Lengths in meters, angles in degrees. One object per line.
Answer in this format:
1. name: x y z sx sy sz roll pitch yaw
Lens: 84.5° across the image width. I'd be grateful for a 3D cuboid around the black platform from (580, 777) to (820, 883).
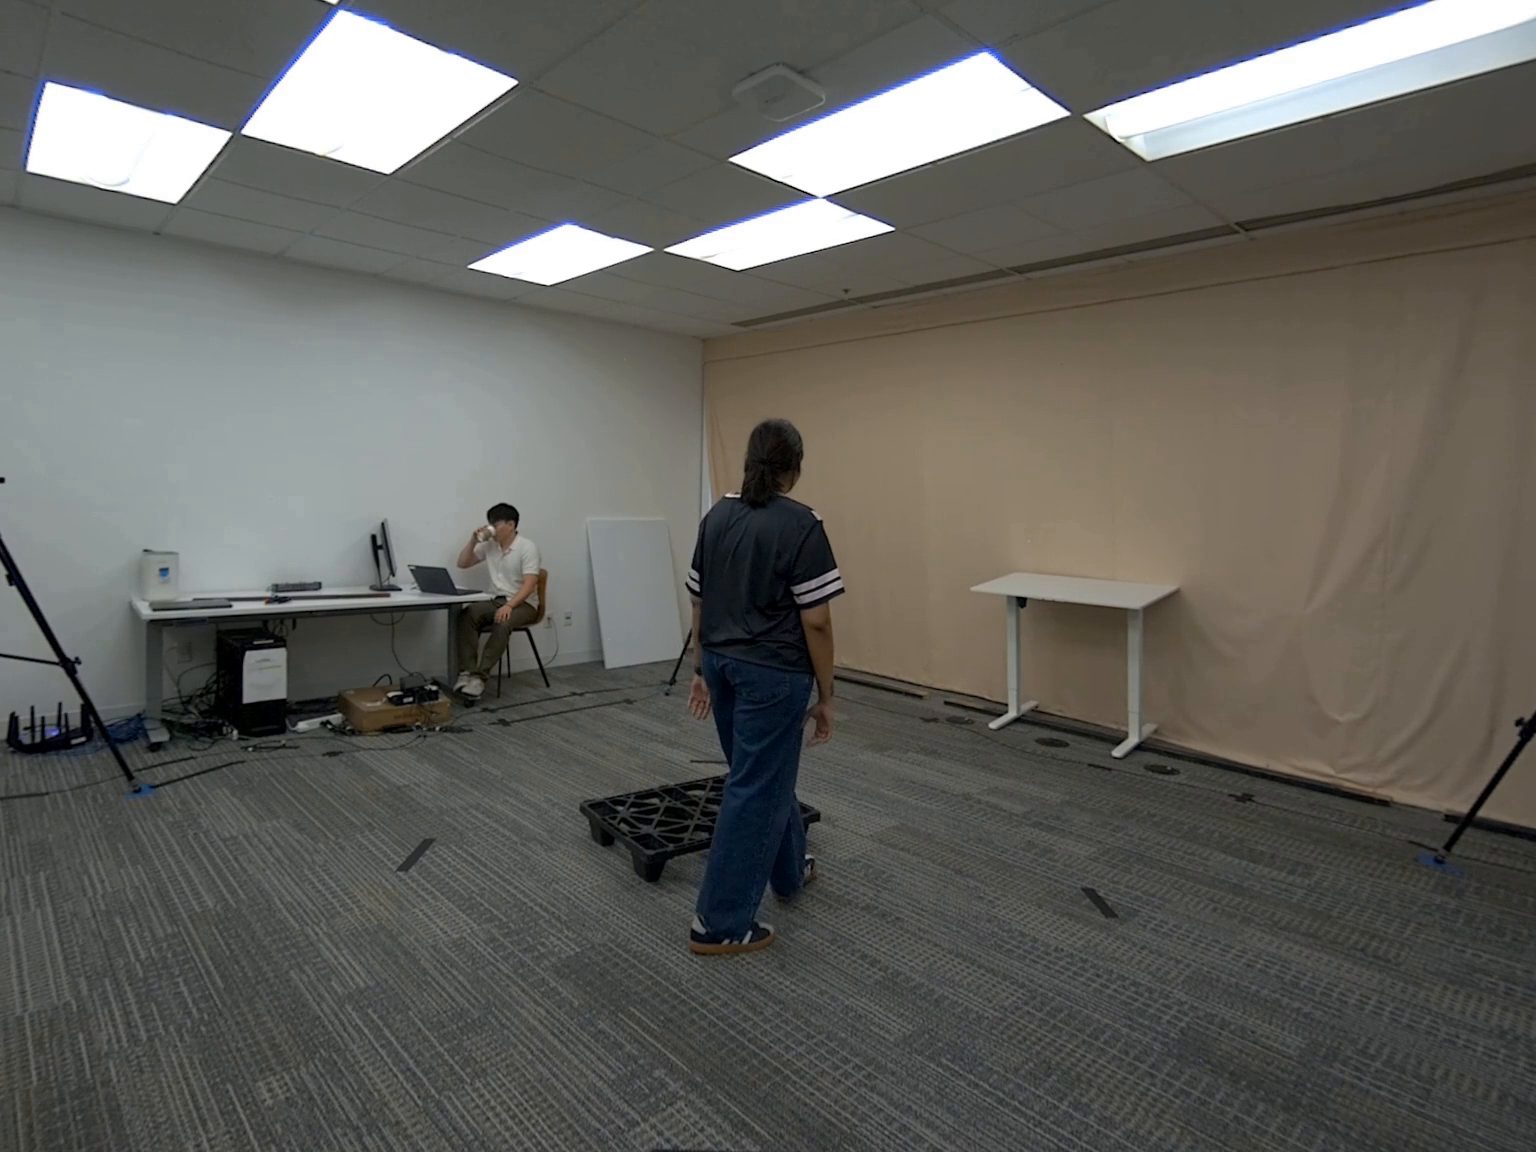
1. black platform: -0.290 1.008 3.421 0.788 0.143 0.620 -2 5 -35
